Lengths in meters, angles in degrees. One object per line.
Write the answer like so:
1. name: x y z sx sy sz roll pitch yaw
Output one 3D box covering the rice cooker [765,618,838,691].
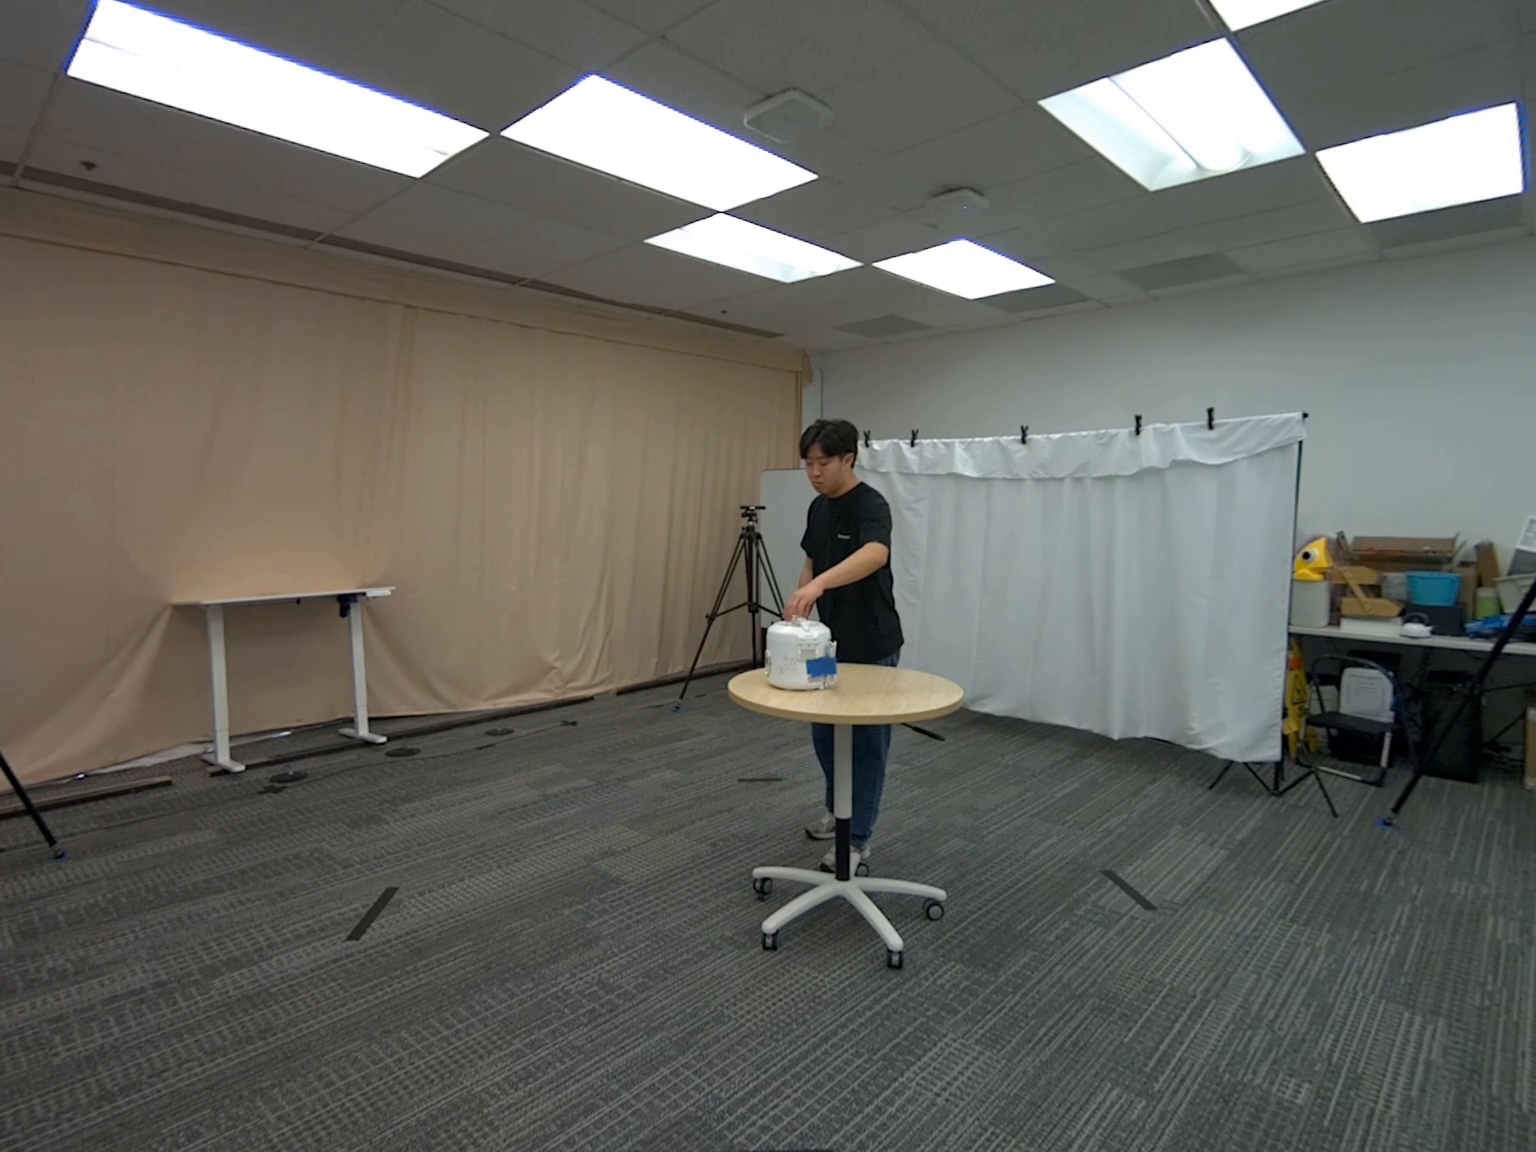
1. rice cooker: 0.100 0.247 2.781 0.215 0.232 0.224 -1 3 -13
